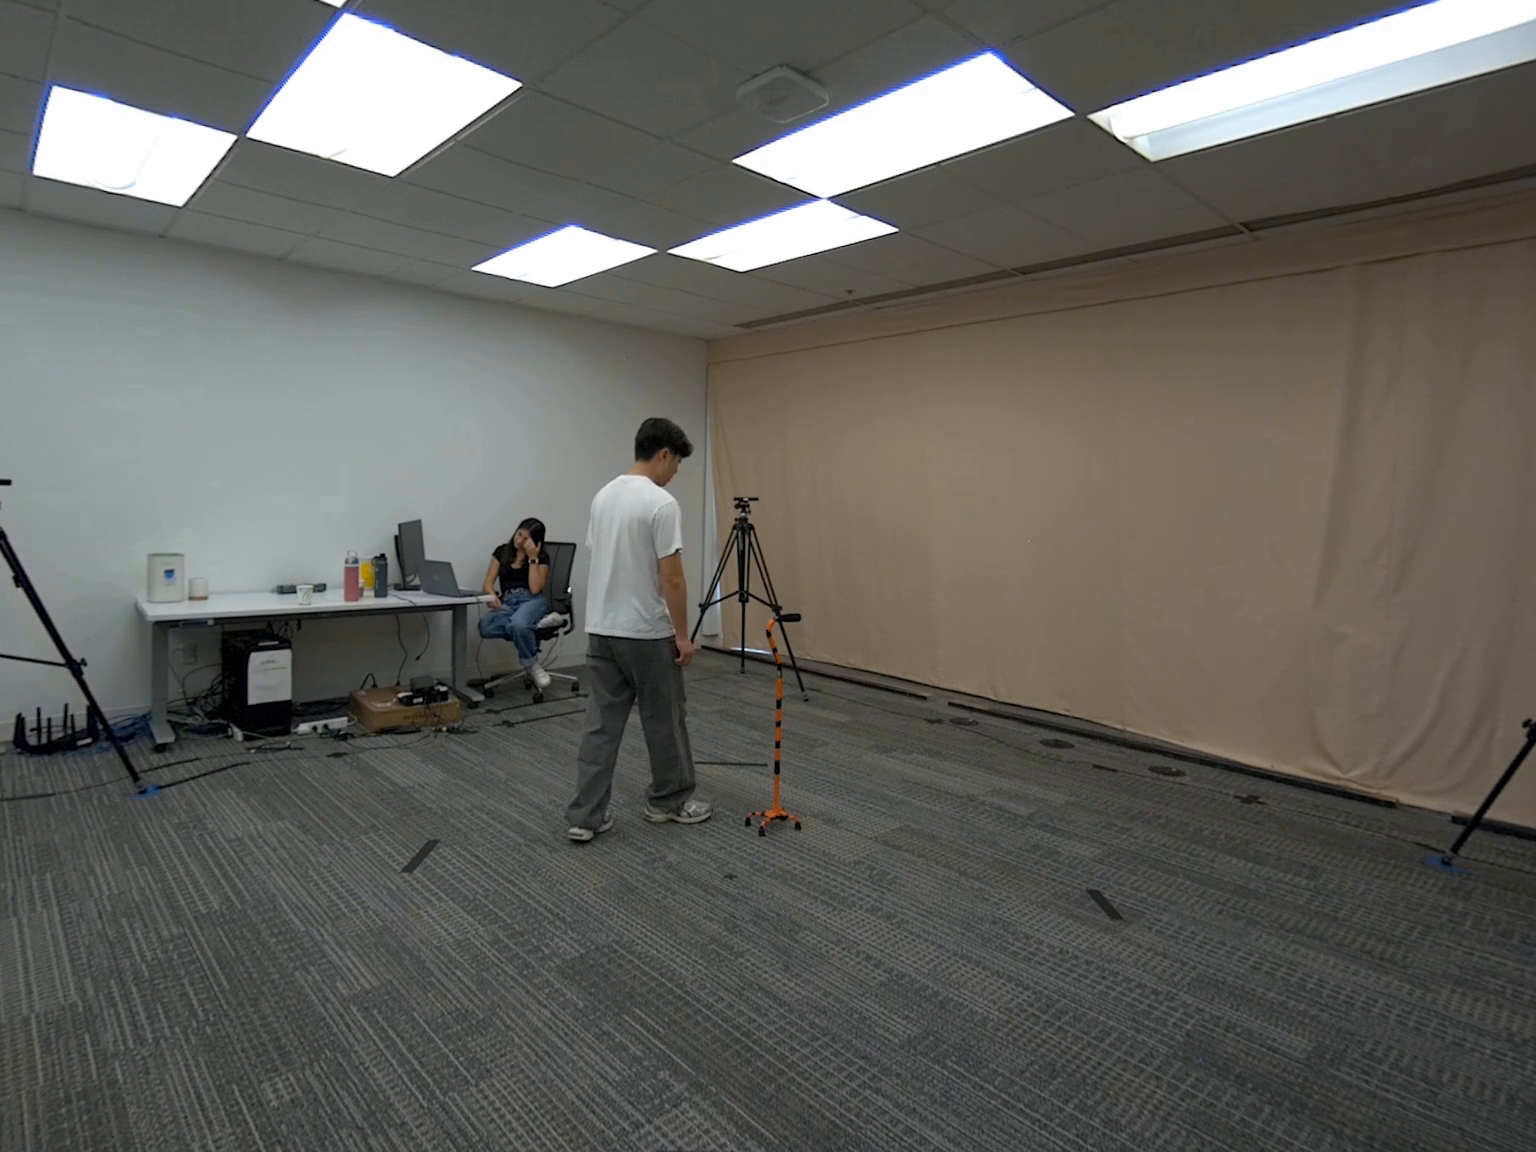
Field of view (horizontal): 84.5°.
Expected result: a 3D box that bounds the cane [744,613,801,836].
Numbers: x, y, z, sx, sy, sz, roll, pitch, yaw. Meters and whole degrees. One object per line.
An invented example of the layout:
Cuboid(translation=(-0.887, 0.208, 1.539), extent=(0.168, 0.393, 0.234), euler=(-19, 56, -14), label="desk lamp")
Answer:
Cuboid(translation=(0.022, 0.616, 3.563), extent=(0.202, 0.906, 0.155), euler=(-1, 4, -30), label="cane")
